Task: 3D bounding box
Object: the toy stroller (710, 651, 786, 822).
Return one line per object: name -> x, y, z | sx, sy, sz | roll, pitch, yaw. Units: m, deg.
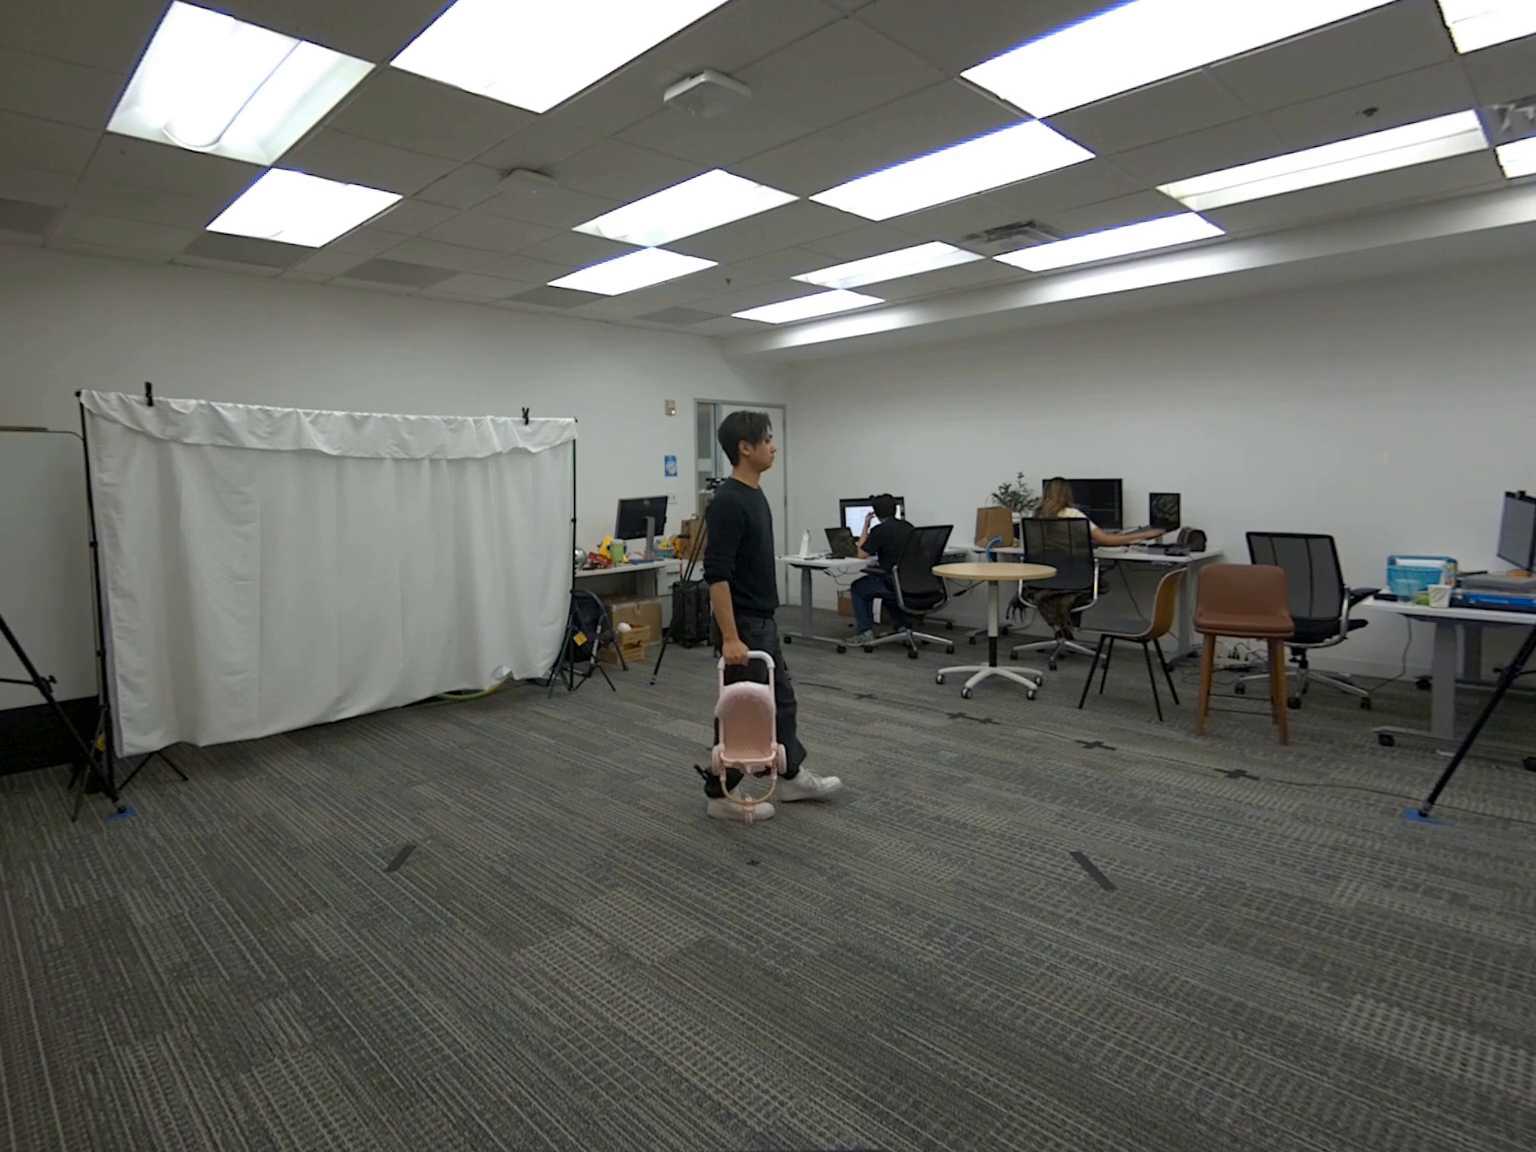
toy stroller -> -0.081, 0.599, 3.115 | 0.283, 0.526, 0.345 | 1, 18, 4
